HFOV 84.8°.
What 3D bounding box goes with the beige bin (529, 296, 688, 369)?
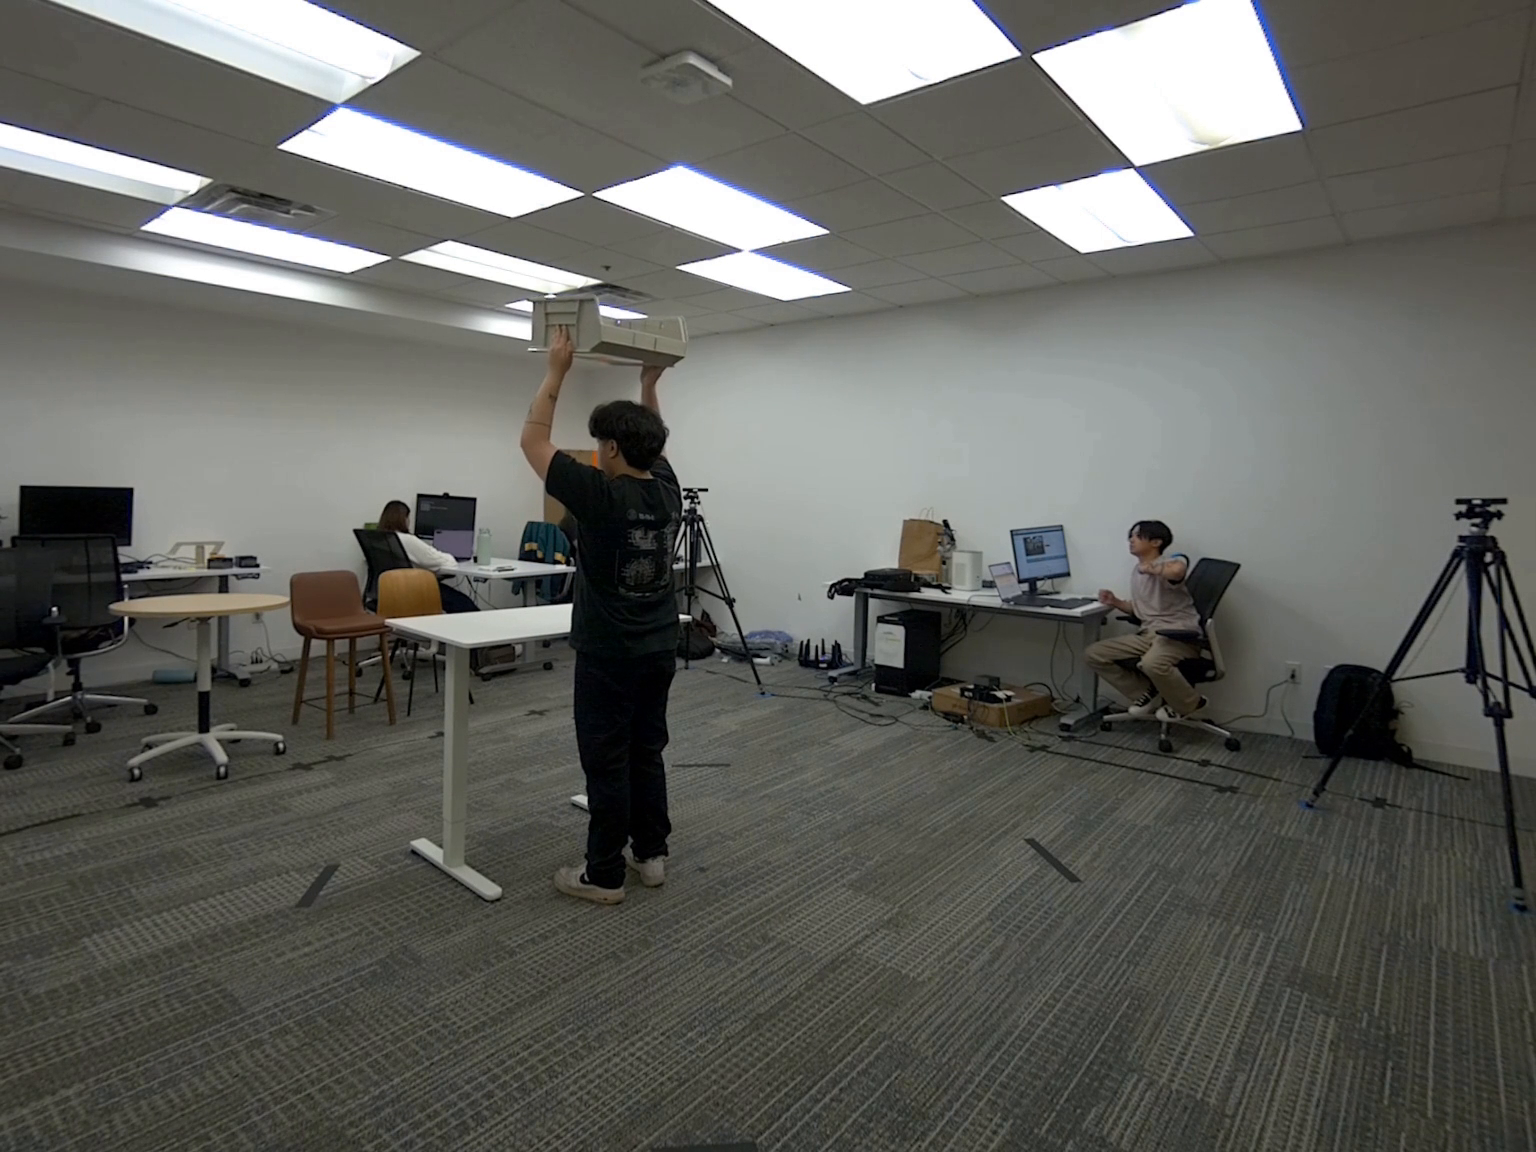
[{"bbox_3d":[-0.560,-0.838,2.940,0.391,0.187,0.410,12,11,37],"label":"beige bin"}]
